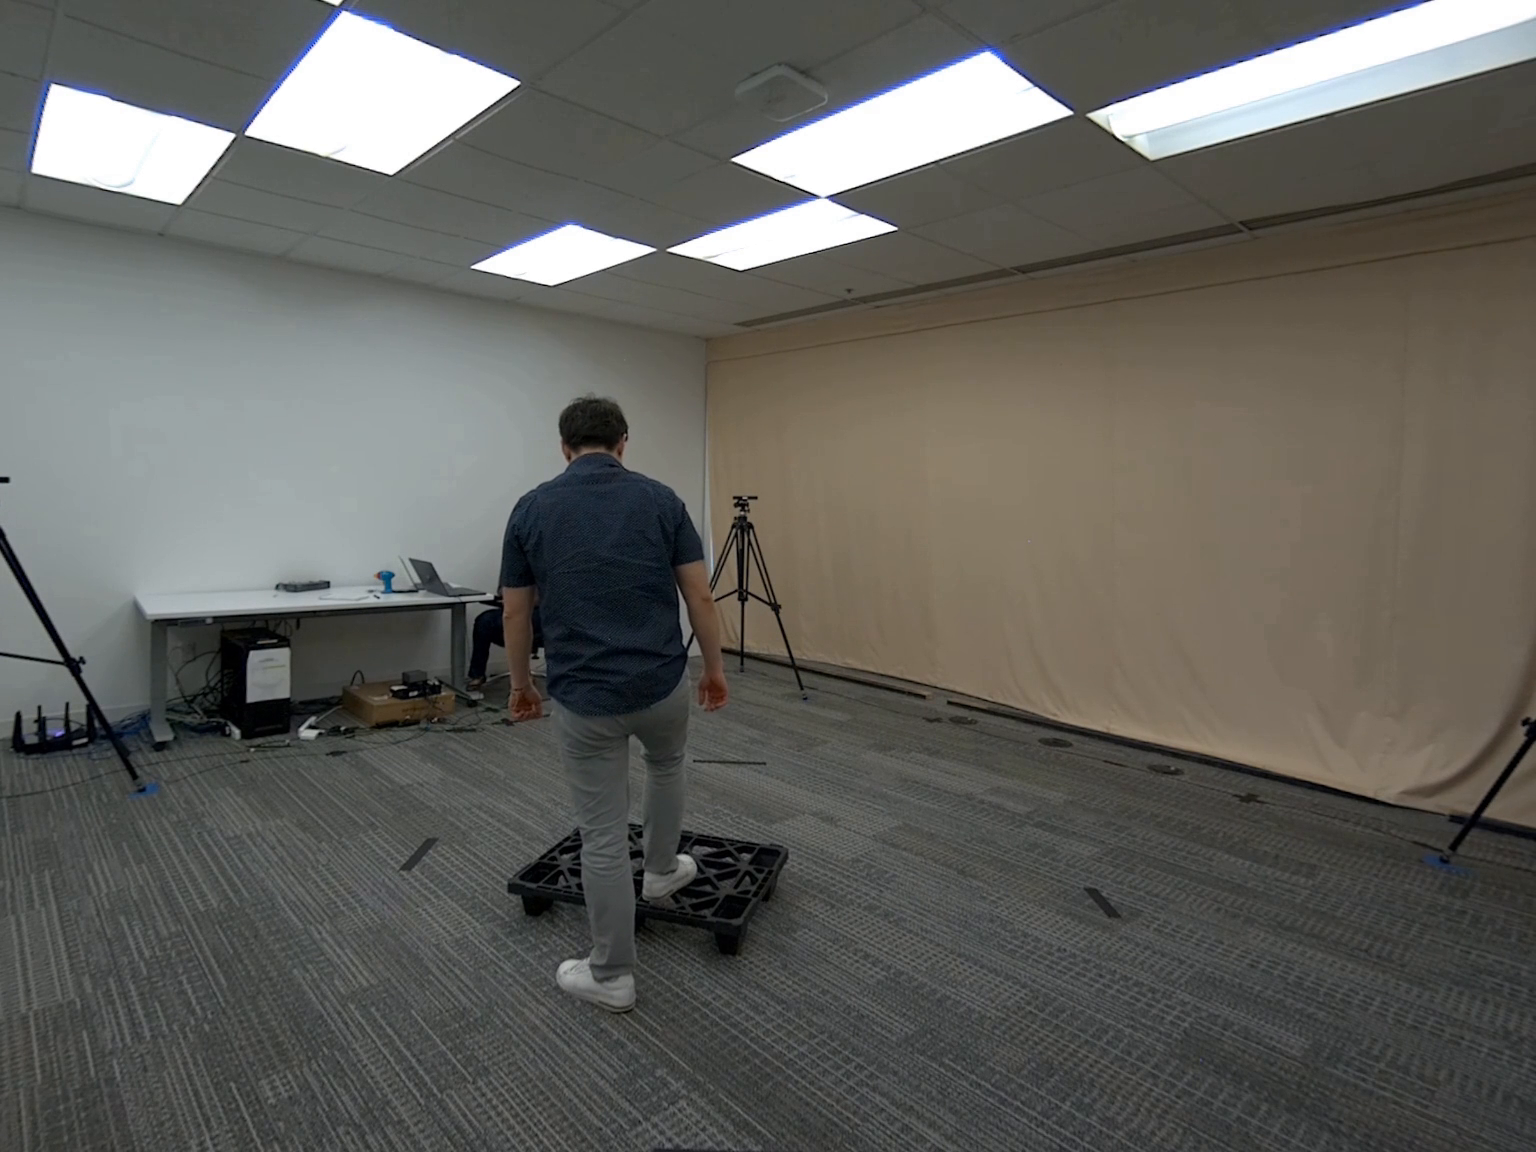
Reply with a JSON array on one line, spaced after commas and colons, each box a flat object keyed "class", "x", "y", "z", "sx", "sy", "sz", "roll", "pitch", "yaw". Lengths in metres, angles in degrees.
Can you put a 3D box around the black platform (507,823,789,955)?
[{"class": "black platform", "x": -0.387, "y": 1.051, "z": 2.878, "sx": 0.817, "sy": 0.143, "sz": 0.599, "roll": 3, "pitch": 6, "yaw": 17}]
